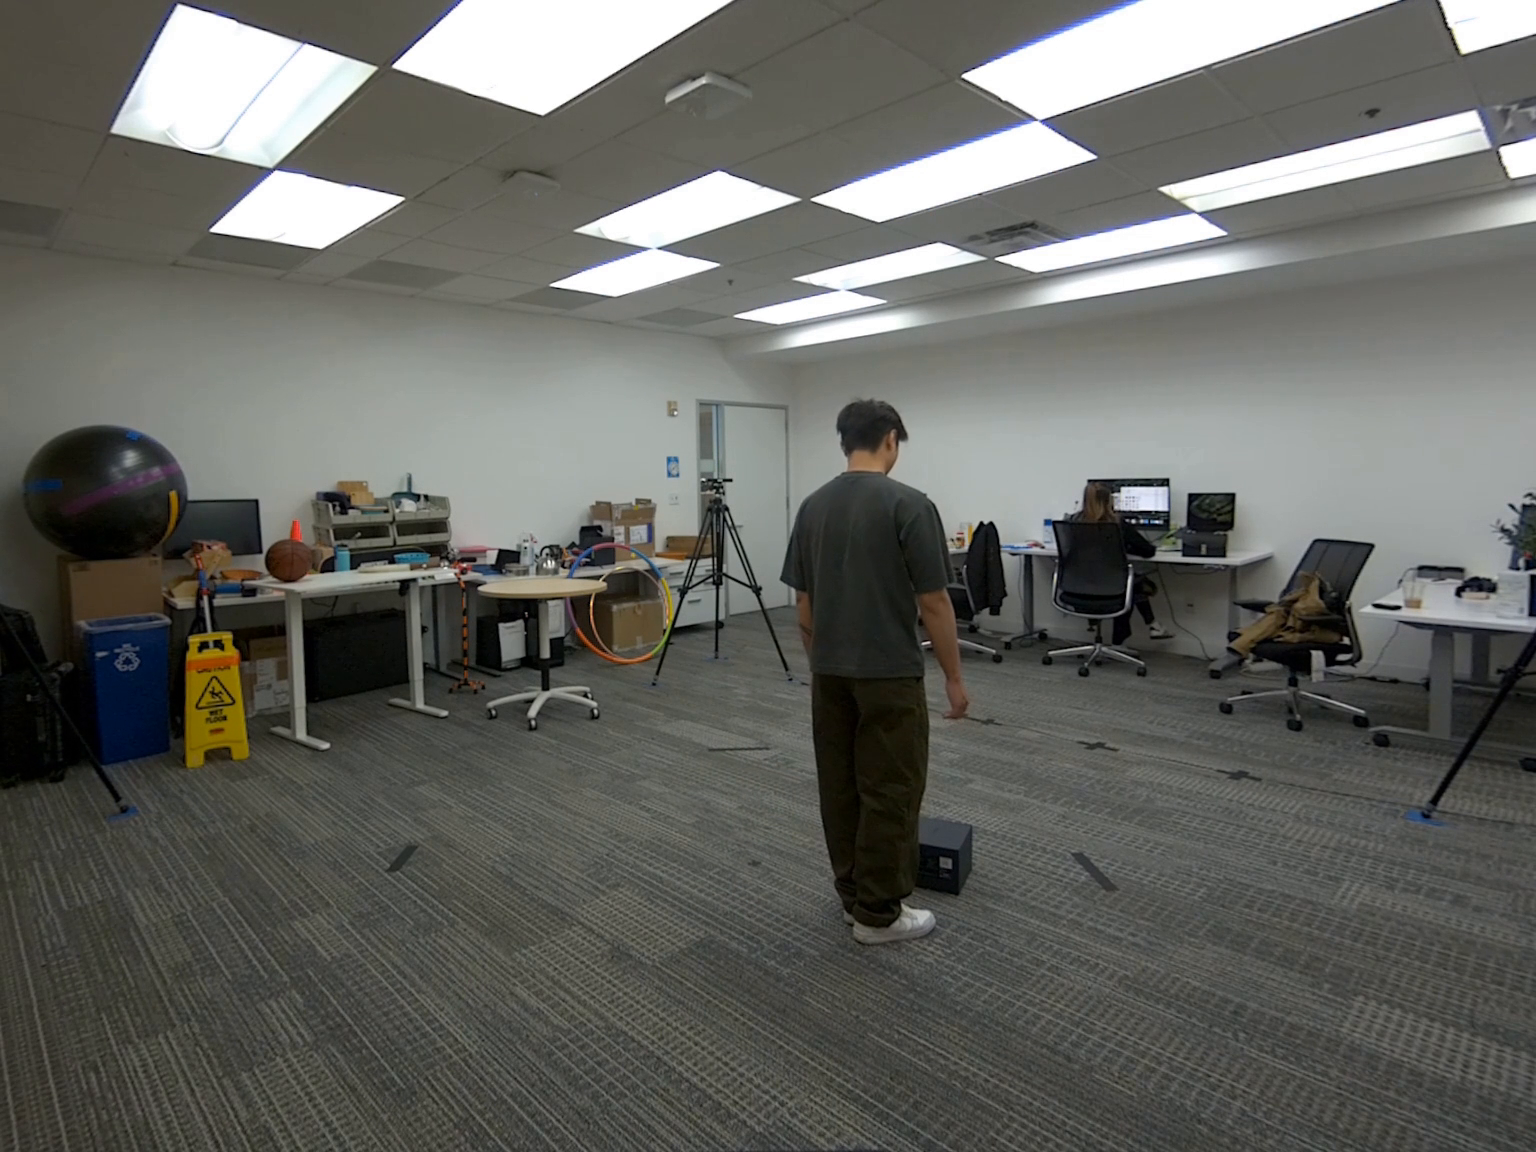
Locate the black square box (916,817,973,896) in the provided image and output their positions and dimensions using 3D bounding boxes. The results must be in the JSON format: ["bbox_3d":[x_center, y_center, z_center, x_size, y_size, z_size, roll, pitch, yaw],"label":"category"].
[{"bbox_3d":[0.585,0.962,2.981,0.222,0.155,0.224,1,6,26],"label":"black square box"}]
